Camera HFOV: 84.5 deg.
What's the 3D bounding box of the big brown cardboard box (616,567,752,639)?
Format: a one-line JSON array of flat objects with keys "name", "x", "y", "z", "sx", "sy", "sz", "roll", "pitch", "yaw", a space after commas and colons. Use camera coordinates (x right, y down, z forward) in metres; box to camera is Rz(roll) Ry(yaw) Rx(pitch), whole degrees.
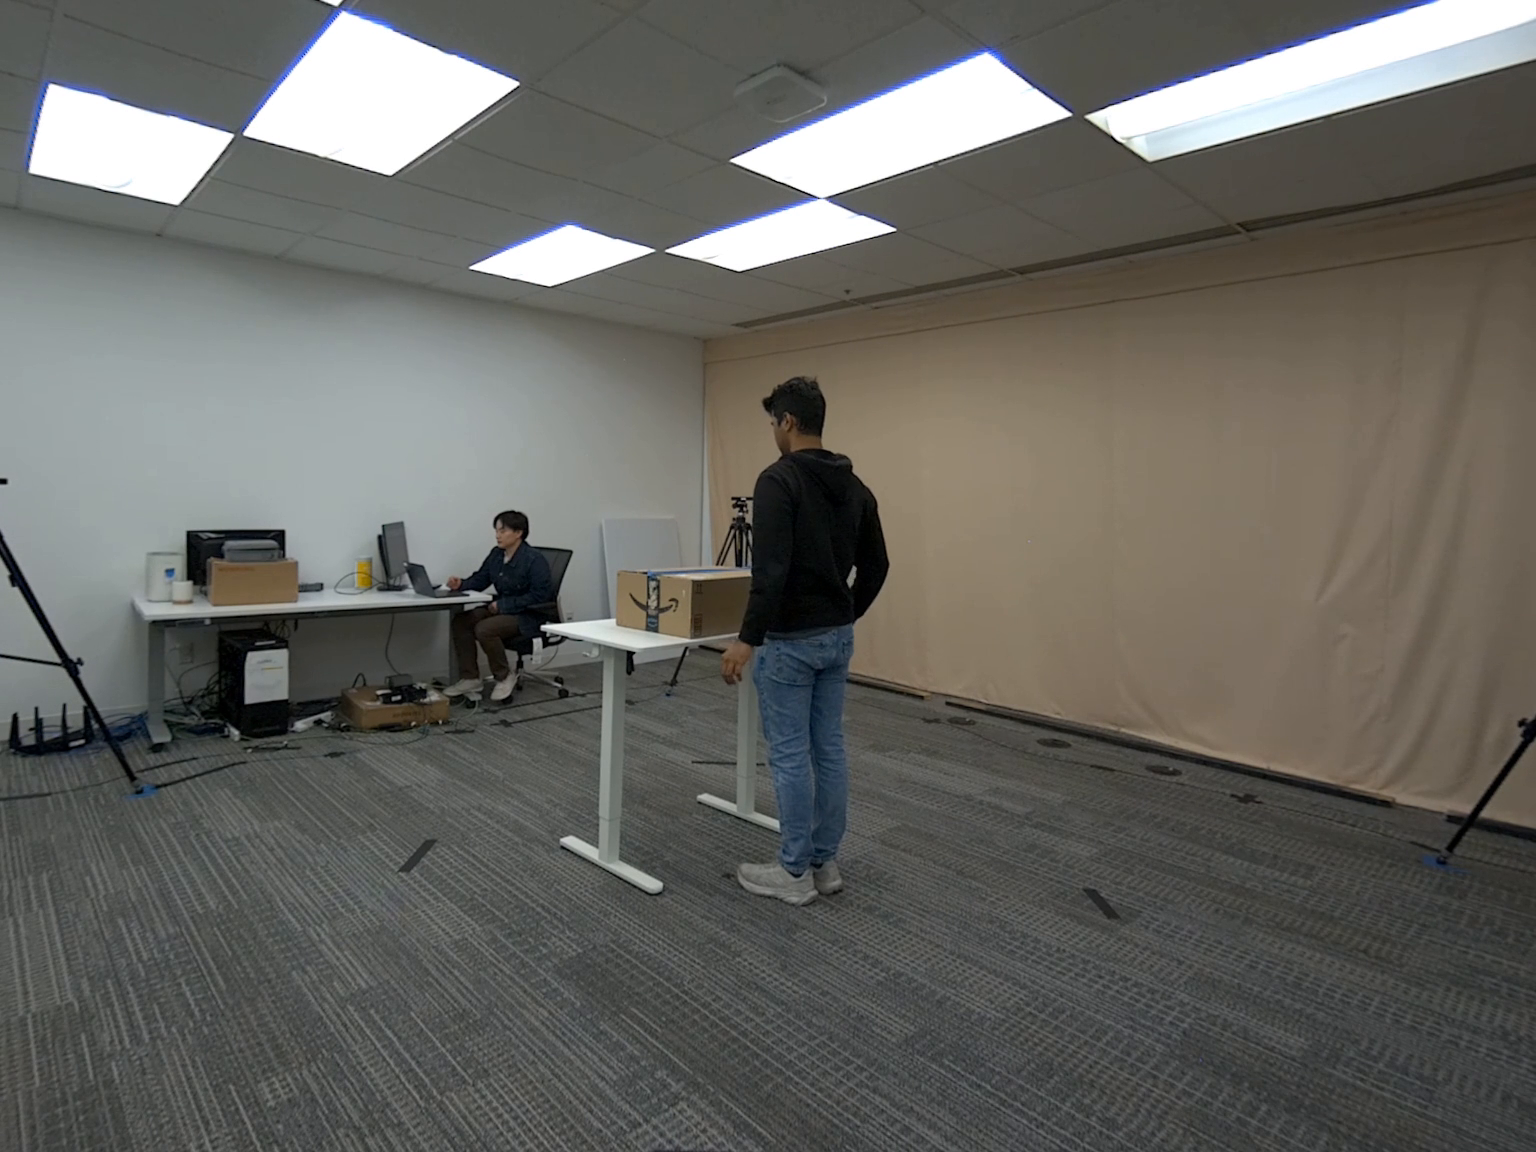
[{"name": "big brown cardboard box", "x": -0.264, "y": 0.089, "z": 3.362, "sx": 0.428, "sy": 0.233, "sz": 0.575, "roll": 5, "pitch": 5, "yaw": 39}]
